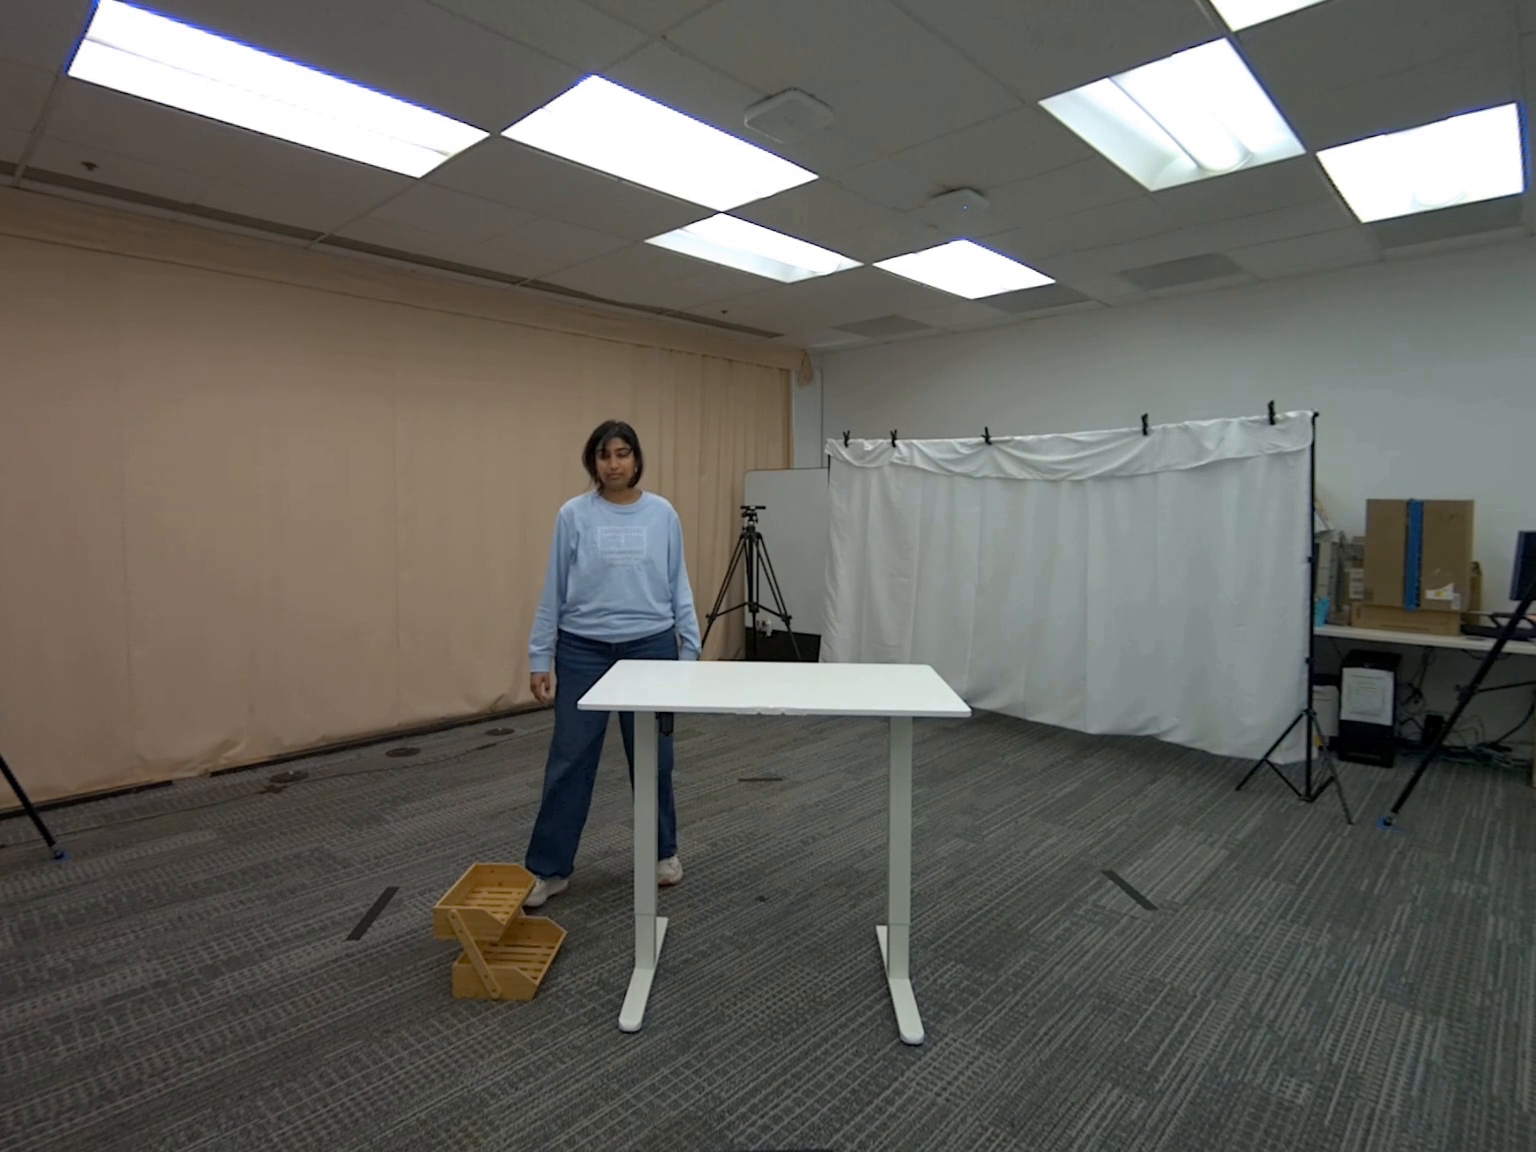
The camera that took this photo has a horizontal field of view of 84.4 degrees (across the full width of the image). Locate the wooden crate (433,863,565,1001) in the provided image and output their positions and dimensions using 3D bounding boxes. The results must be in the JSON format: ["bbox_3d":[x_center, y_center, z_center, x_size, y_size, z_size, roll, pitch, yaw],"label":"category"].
[{"bbox_3d":[-0.789,1.053,2.527,0.304,0.273,0.323,-2,4,4],"label":"wooden crate"}]
